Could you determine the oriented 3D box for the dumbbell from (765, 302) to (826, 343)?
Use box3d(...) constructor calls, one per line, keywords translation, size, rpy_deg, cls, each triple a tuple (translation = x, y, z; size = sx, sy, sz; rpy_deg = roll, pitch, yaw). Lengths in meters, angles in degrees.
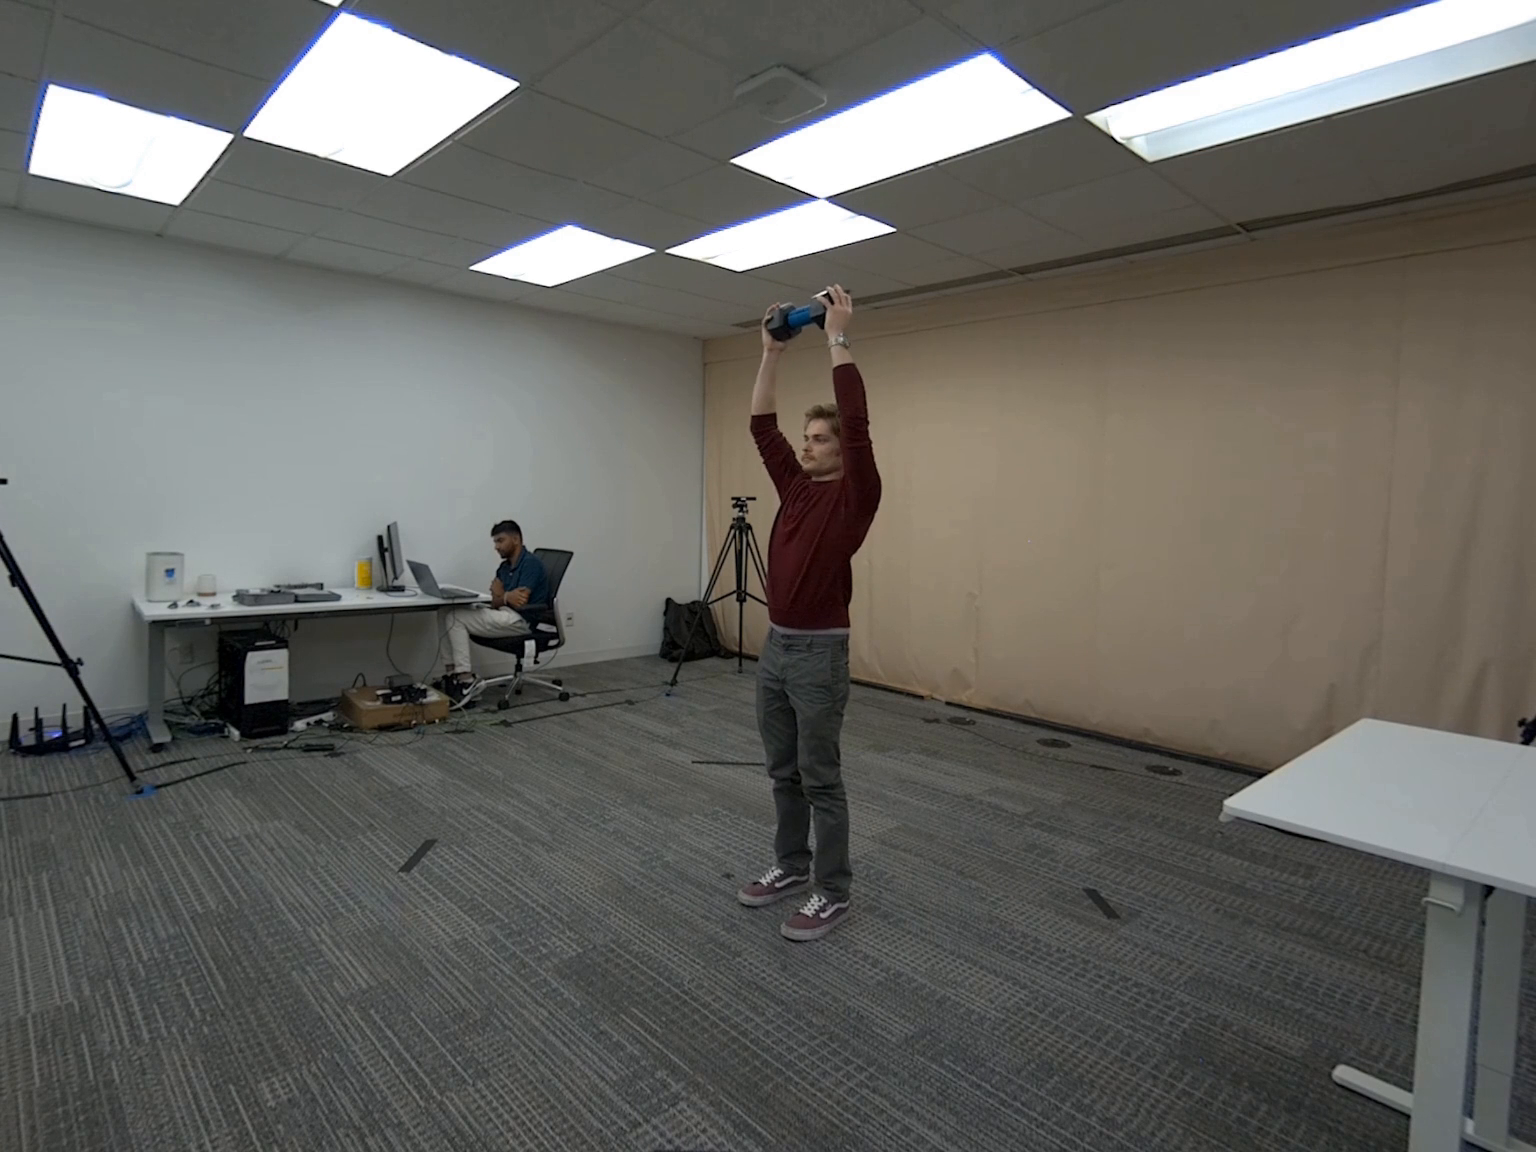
box3d(translation=(0.118, -0.850, 2.768), size=(0.106, 0.123, 0.300), rpy_deg=(4, -2, -39), cls="dumbbell")
